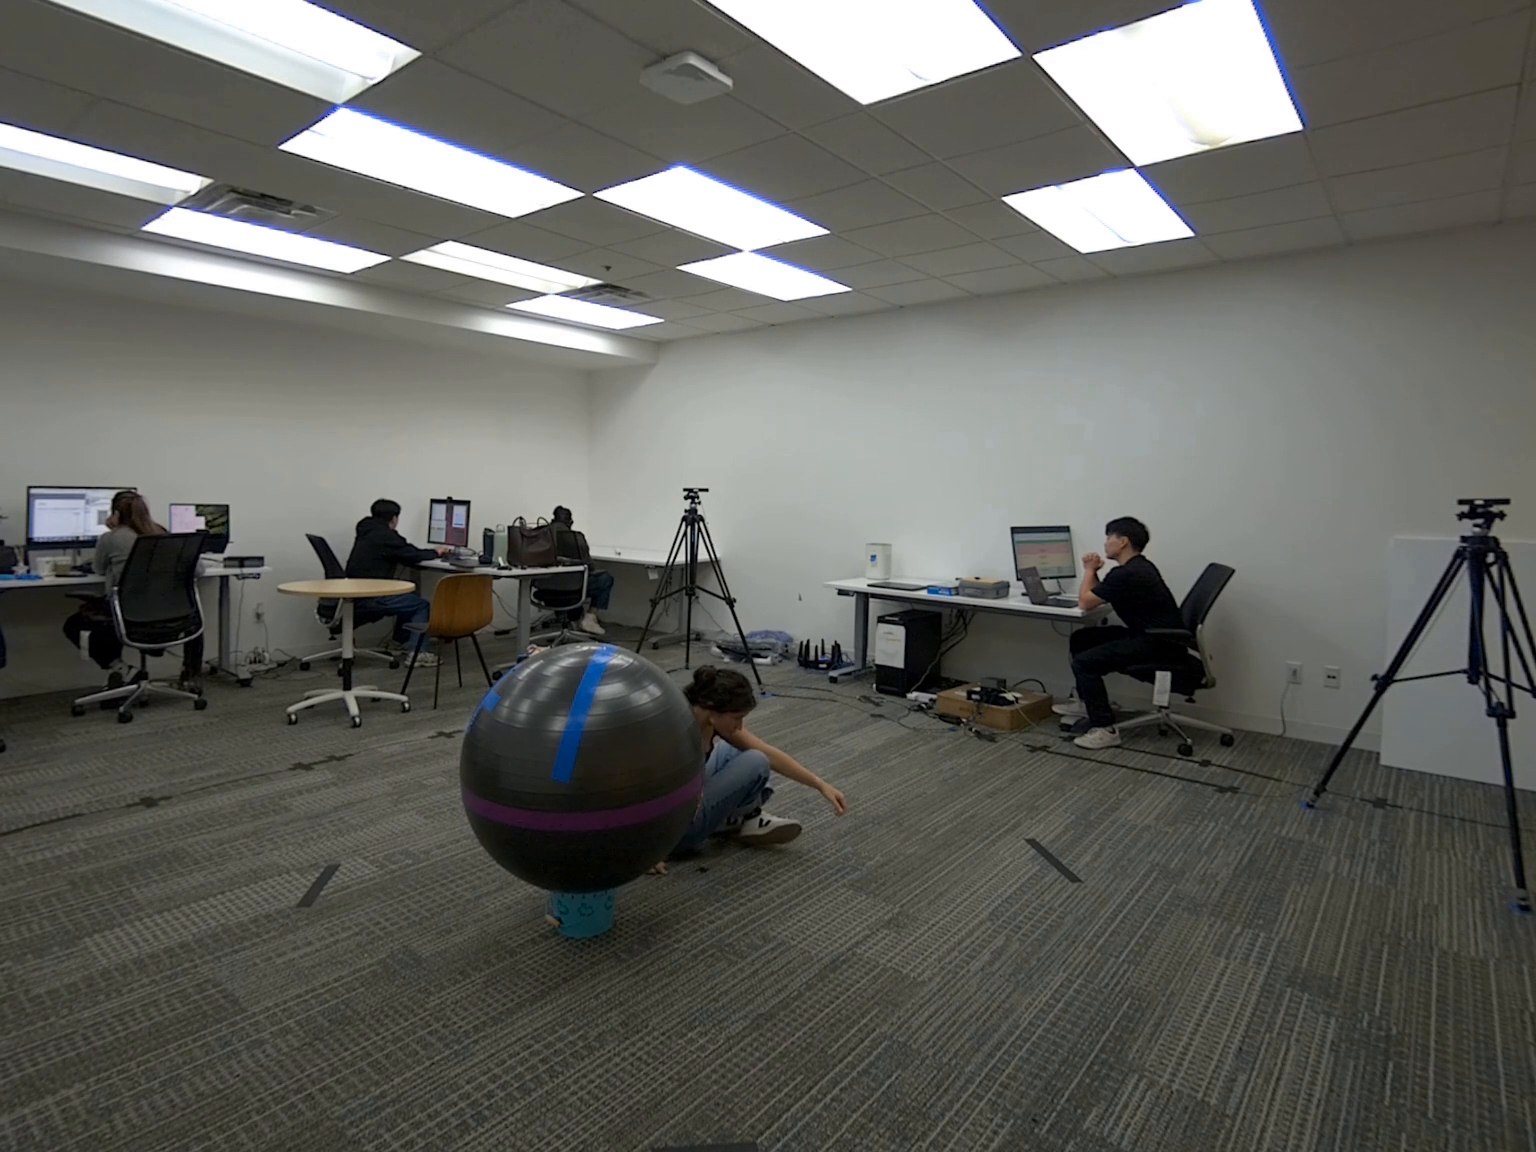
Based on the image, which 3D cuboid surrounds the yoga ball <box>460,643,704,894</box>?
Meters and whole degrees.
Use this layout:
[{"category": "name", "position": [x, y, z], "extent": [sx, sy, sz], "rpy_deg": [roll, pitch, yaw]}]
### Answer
[{"category": "yoga ball", "position": [-0.586, 0.597, 2.674], "extent": [0.757, 0.756, 0.761], "rpy_deg": [1, 4, -2]}]
